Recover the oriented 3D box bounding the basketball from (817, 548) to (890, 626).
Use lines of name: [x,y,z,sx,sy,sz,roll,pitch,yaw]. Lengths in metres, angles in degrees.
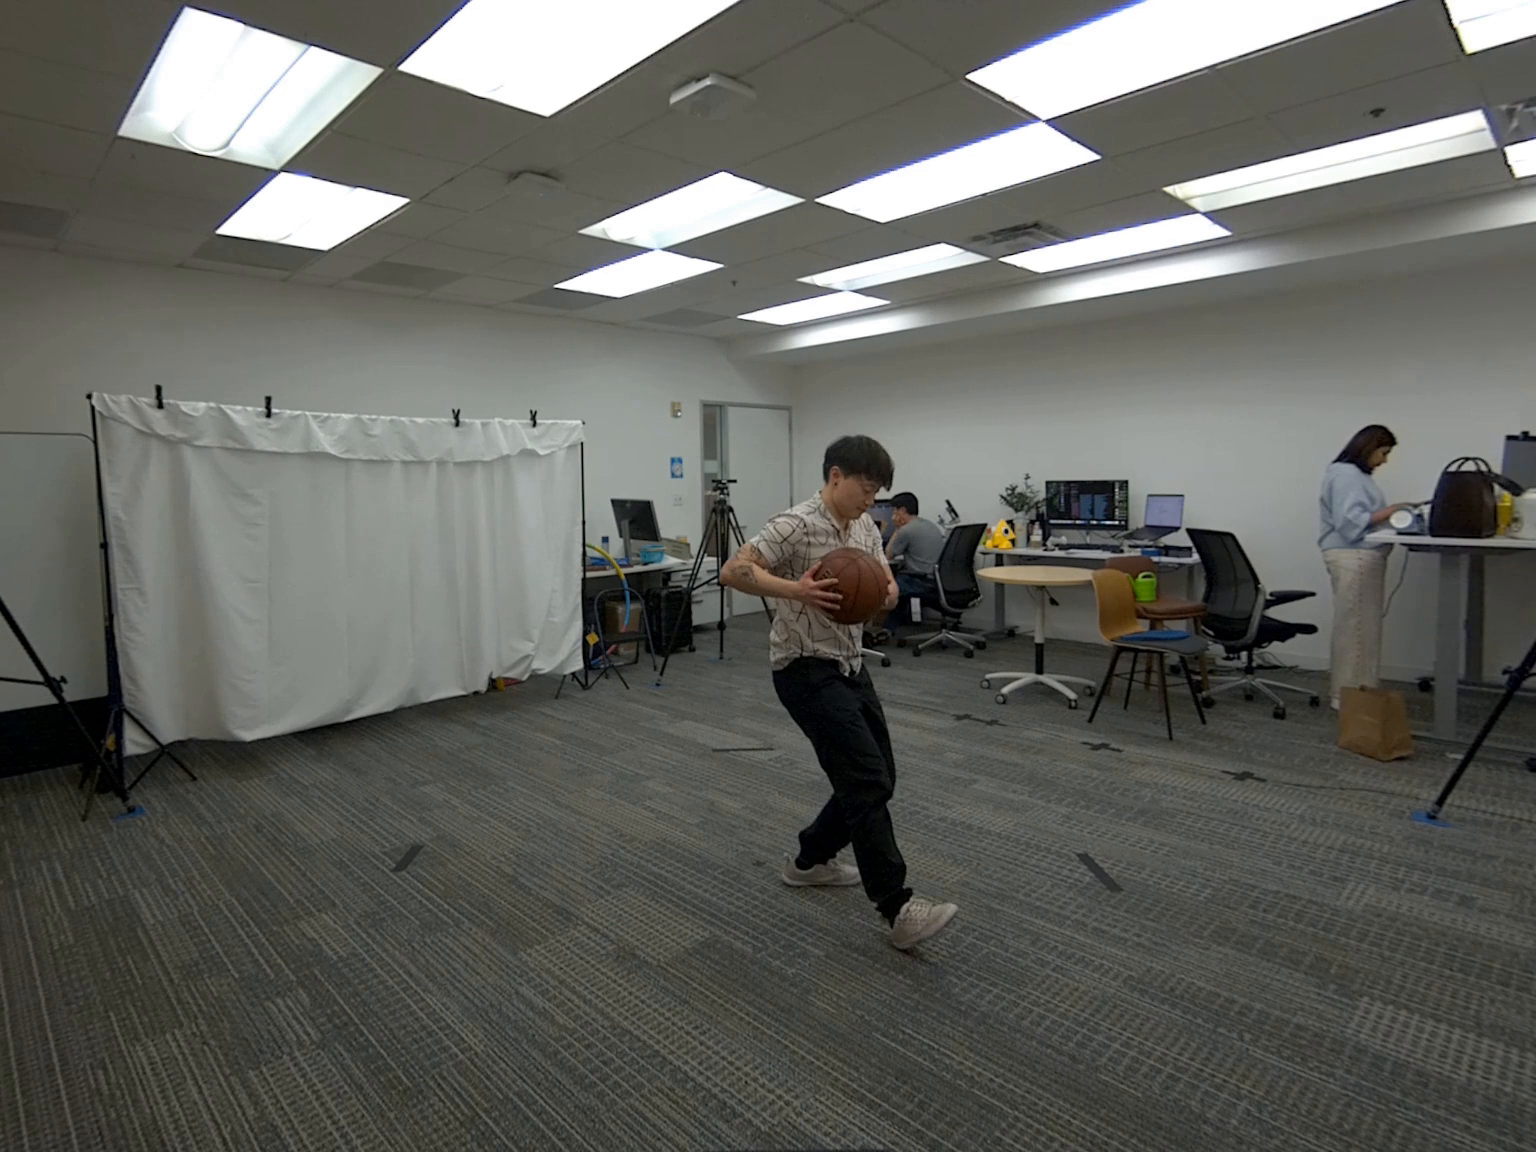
basketball: [0.257,0.039,2.609,0.236,0.235,0.237,-1,5,-2]
